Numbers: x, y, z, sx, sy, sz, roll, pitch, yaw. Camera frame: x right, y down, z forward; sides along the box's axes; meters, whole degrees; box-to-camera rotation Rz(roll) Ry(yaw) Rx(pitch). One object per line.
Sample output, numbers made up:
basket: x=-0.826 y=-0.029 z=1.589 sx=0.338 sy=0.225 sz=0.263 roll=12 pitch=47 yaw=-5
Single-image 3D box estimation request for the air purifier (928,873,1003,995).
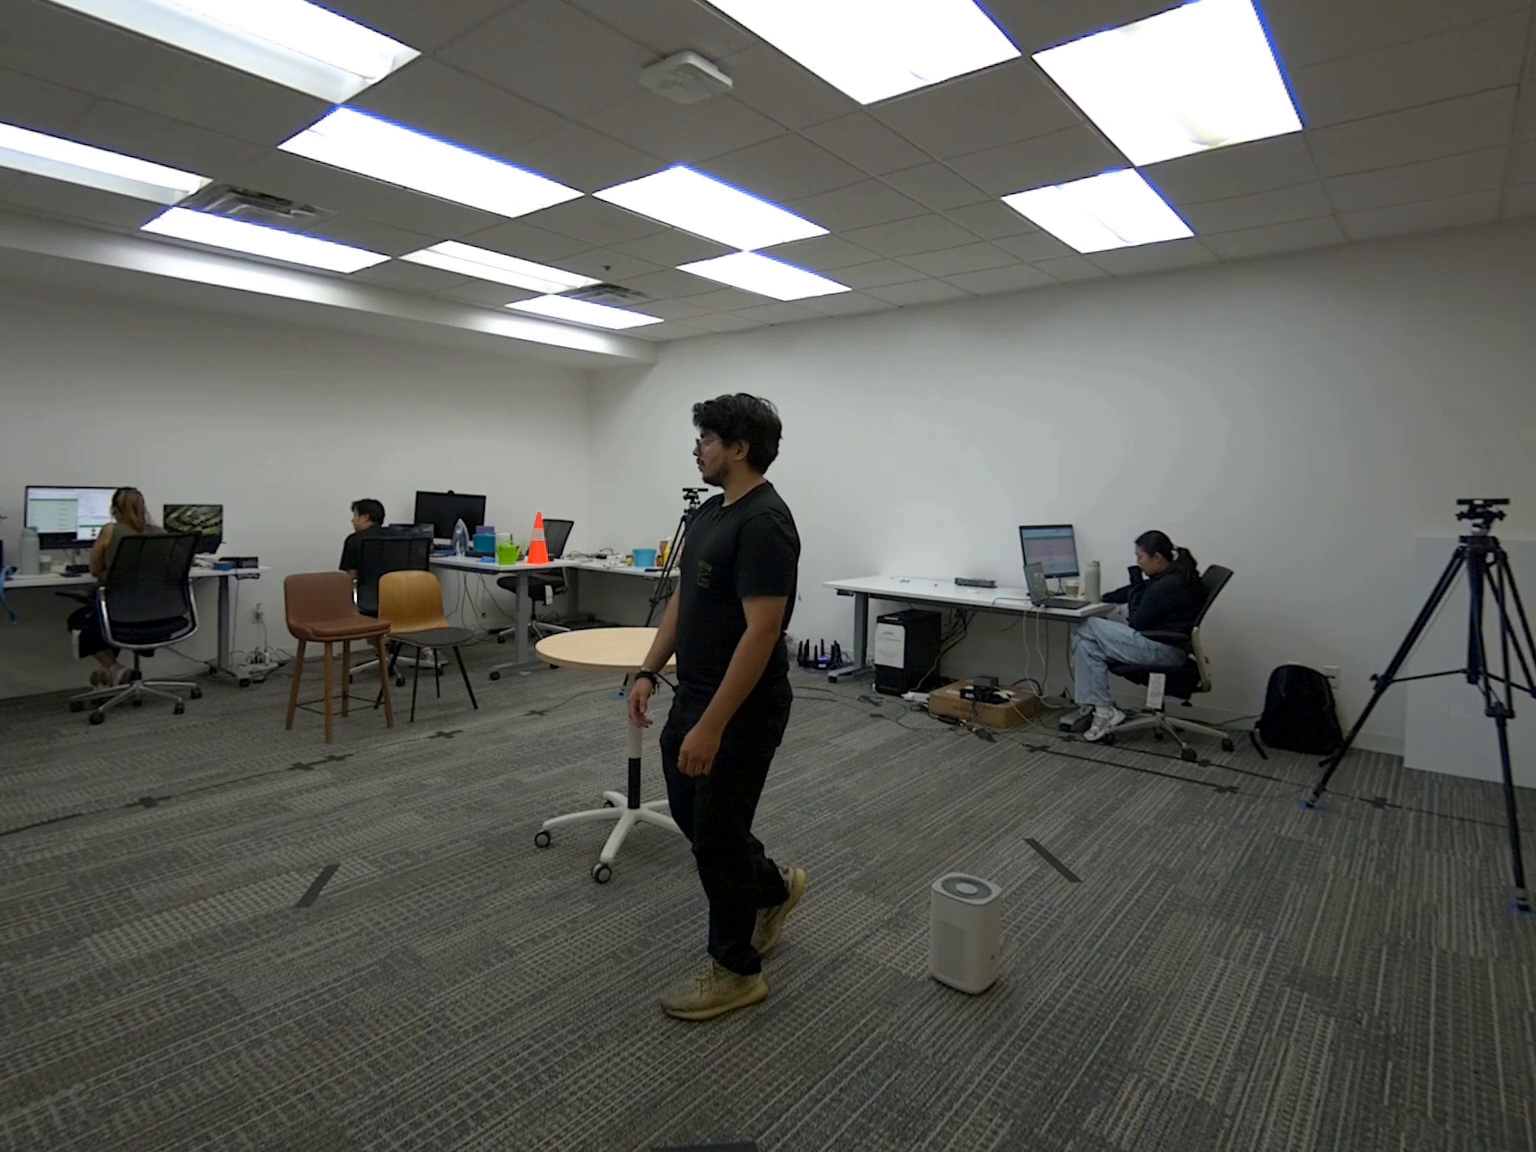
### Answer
air purifier: x=0.566 y=1.021 z=2.441 sx=0.177 sy=0.264 sz=0.166 roll=4 pitch=5 yaw=38
